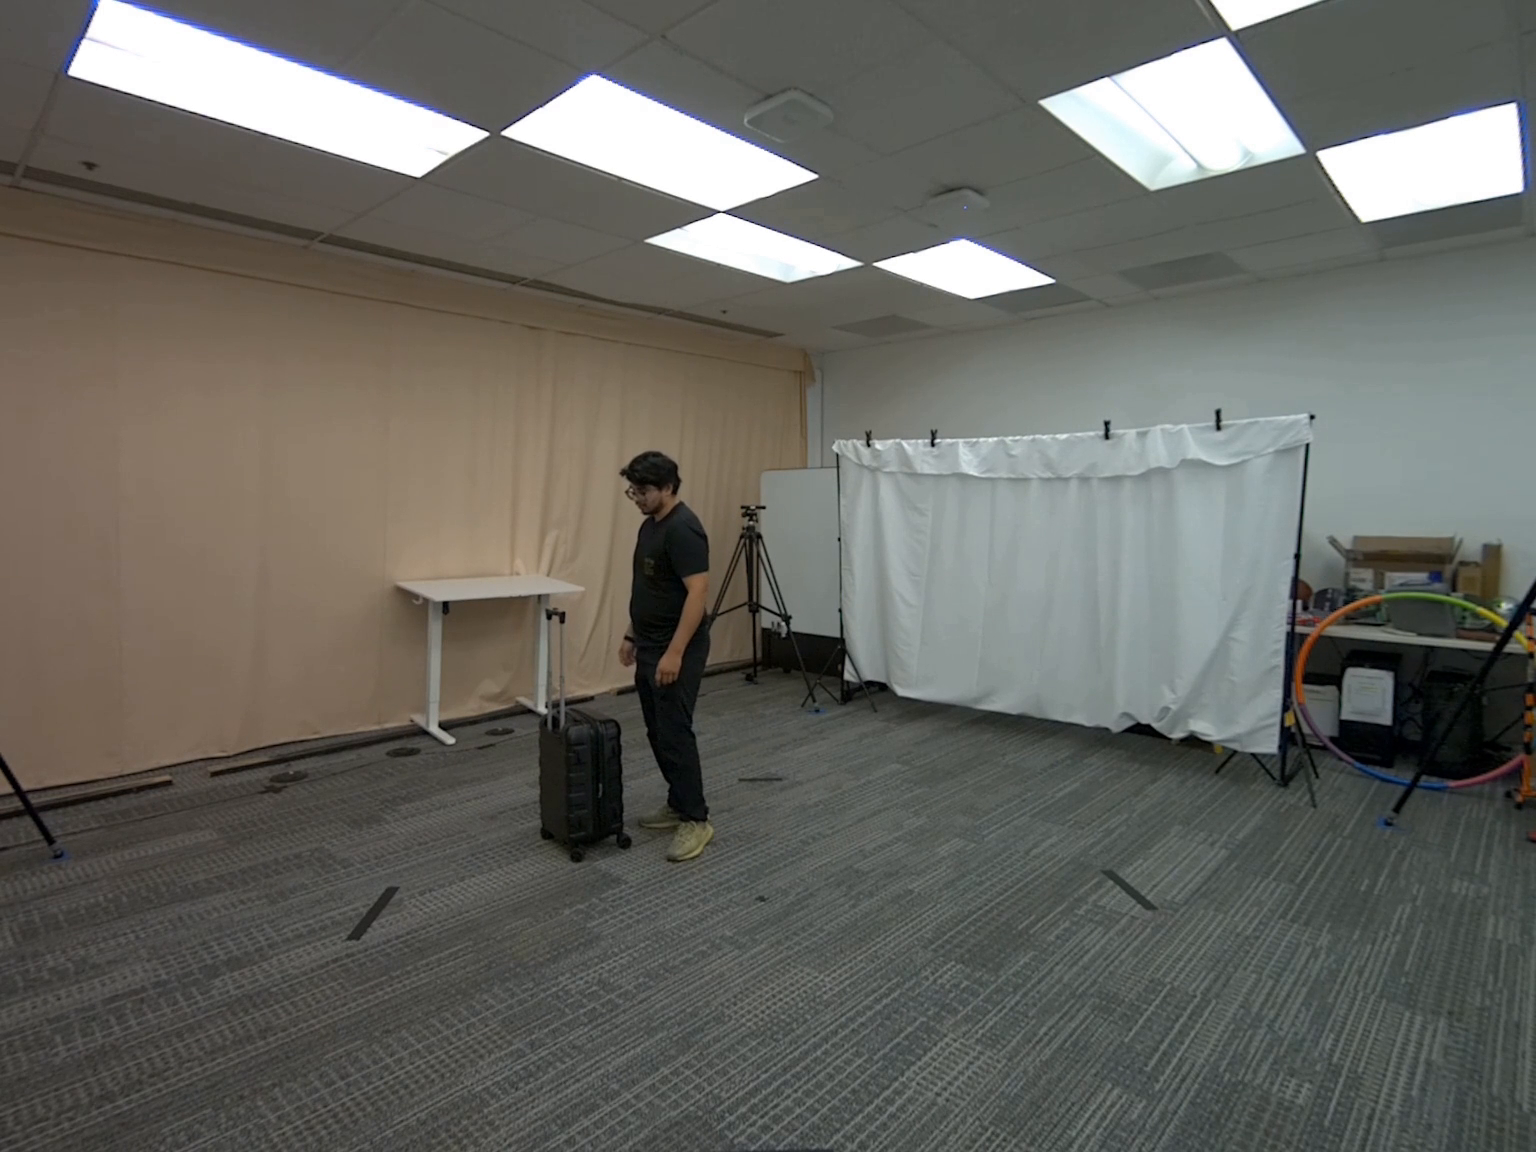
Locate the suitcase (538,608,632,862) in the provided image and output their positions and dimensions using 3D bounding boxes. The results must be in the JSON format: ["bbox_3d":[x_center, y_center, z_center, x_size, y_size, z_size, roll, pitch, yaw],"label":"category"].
[{"bbox_3d":[-0.790,0.632,3.485,0.249,0.977,0.396,-3,3,-36],"label":"suitcase"}]
